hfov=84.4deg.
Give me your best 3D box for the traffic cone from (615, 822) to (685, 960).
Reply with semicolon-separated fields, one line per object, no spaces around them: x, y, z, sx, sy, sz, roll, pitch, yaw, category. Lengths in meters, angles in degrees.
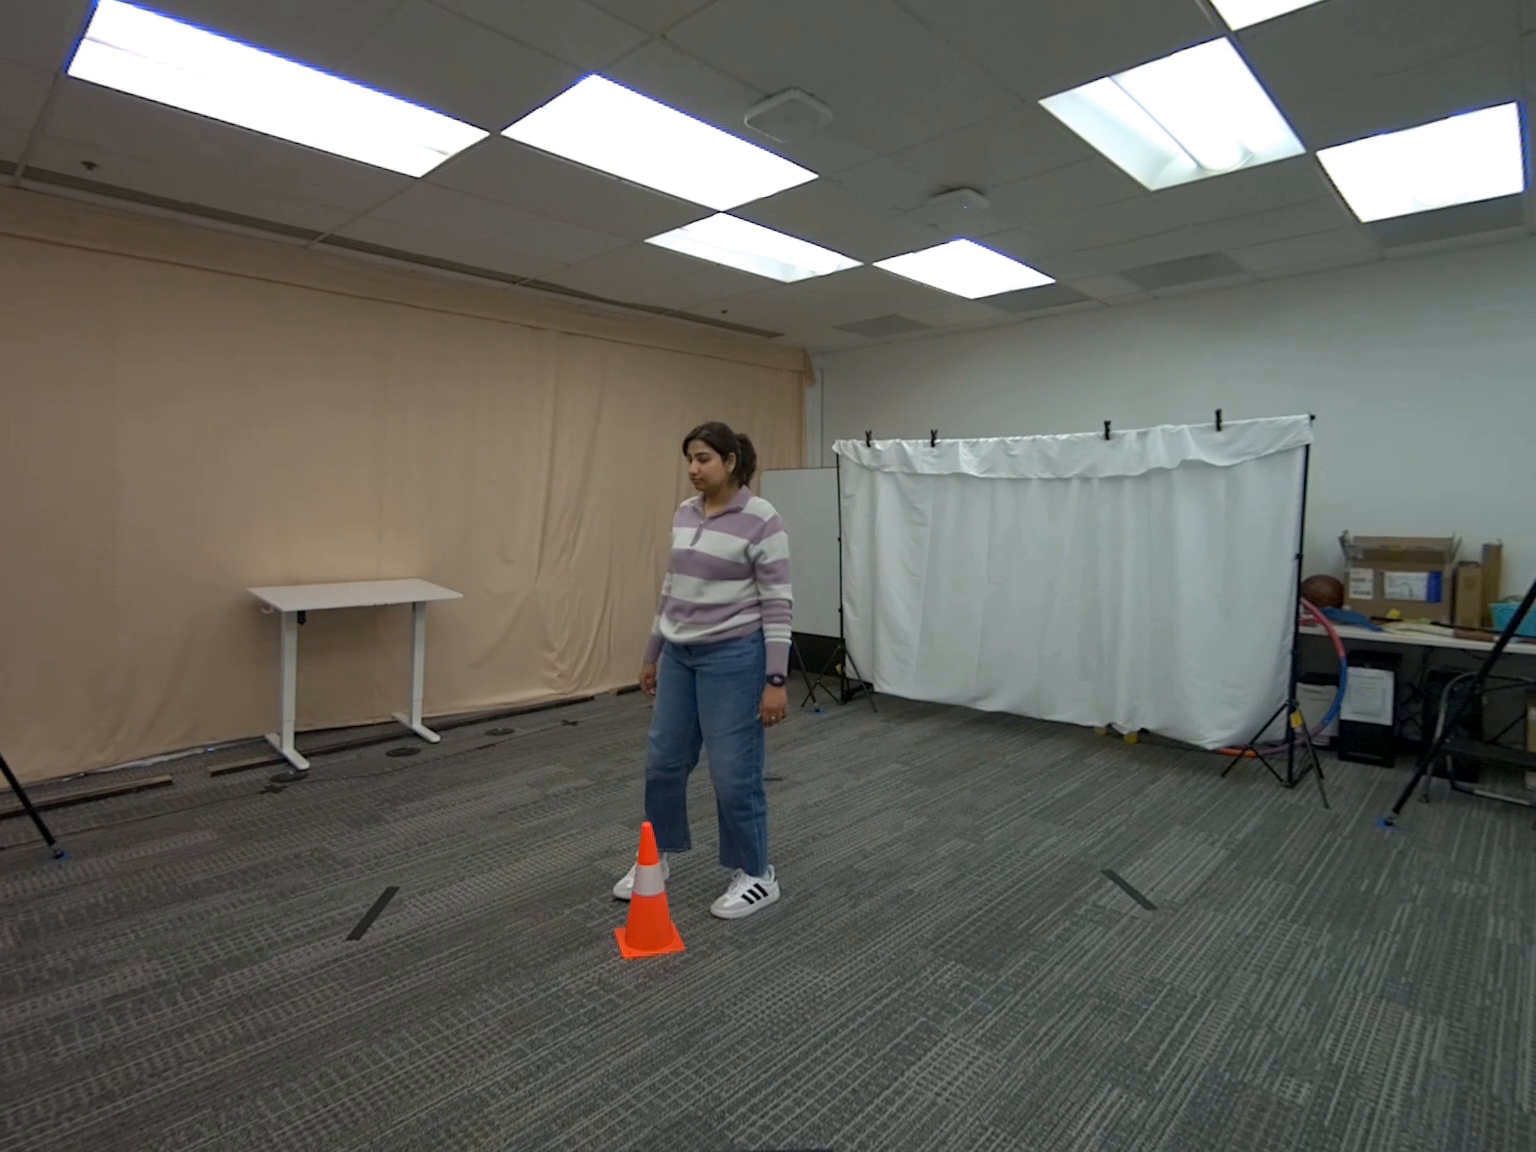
-0.375;0.981;2.701;0.201;0.383;0.207;1;4;-18;traffic cone
